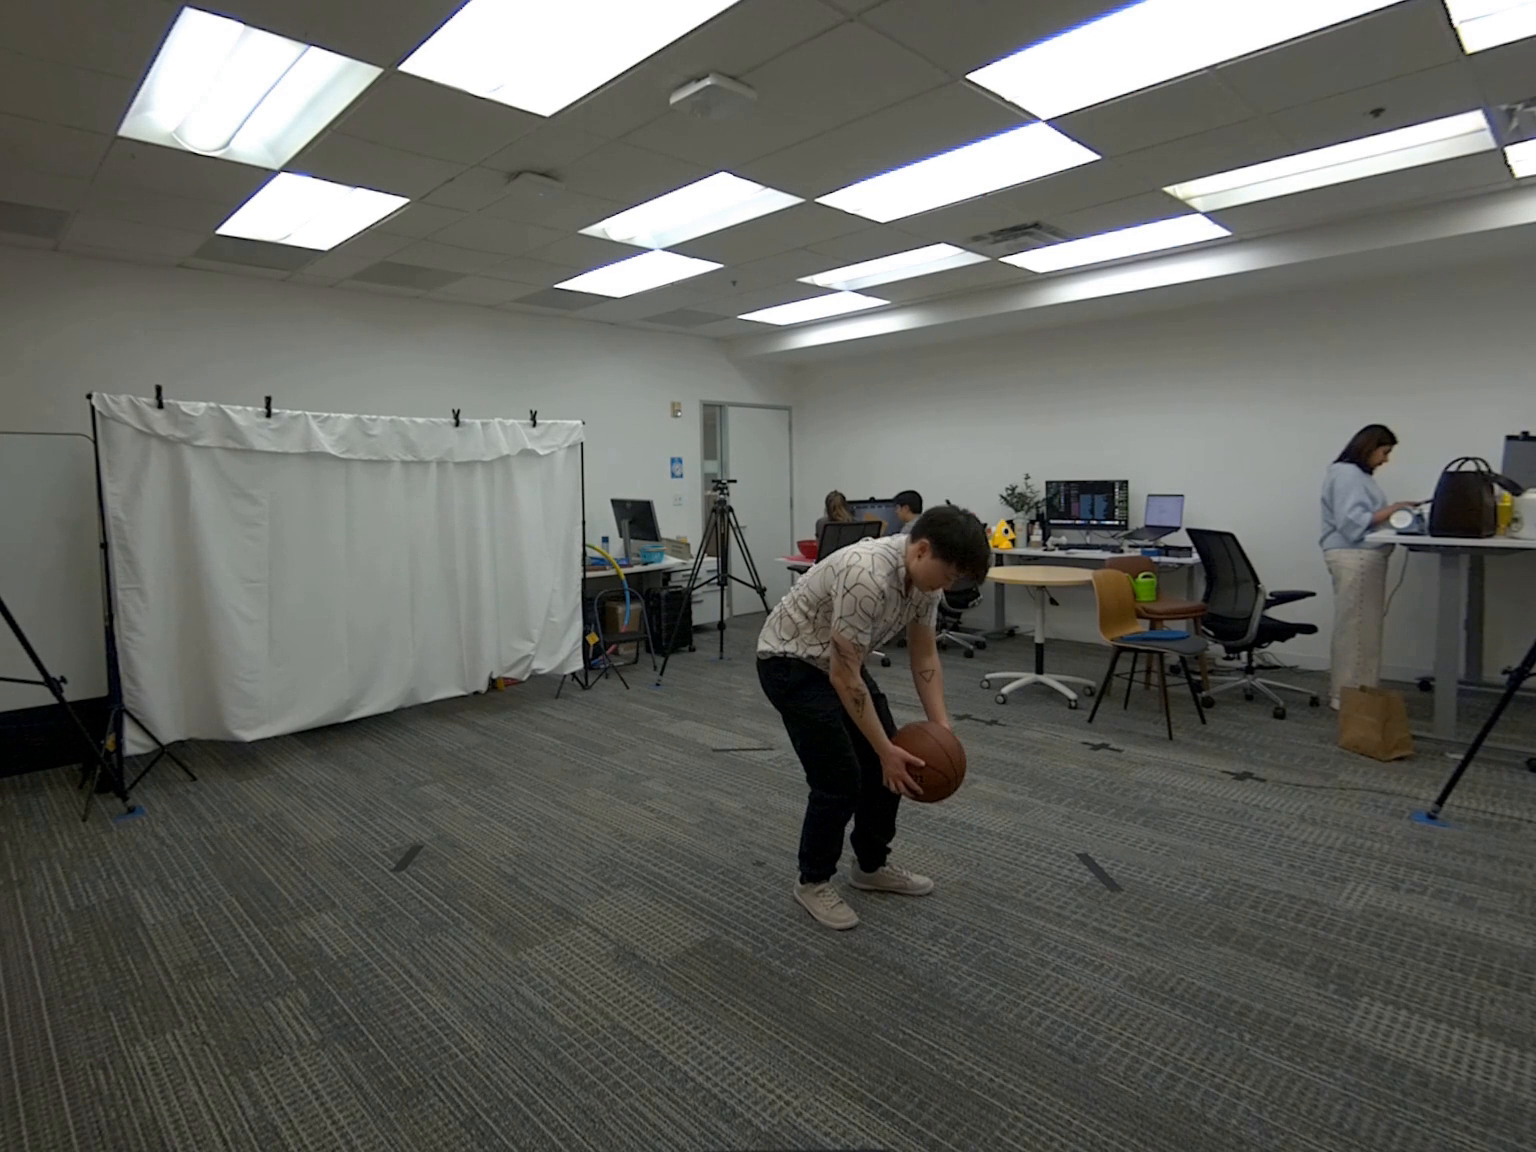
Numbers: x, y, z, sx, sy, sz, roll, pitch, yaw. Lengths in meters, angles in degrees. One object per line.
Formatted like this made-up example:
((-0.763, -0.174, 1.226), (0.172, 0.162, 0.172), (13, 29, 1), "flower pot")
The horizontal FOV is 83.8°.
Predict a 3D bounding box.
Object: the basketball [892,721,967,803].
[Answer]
((0.478, 0.566, 2.579), (0.236, 0.235, 0.237), (-1, 5, -2), "basketball")
